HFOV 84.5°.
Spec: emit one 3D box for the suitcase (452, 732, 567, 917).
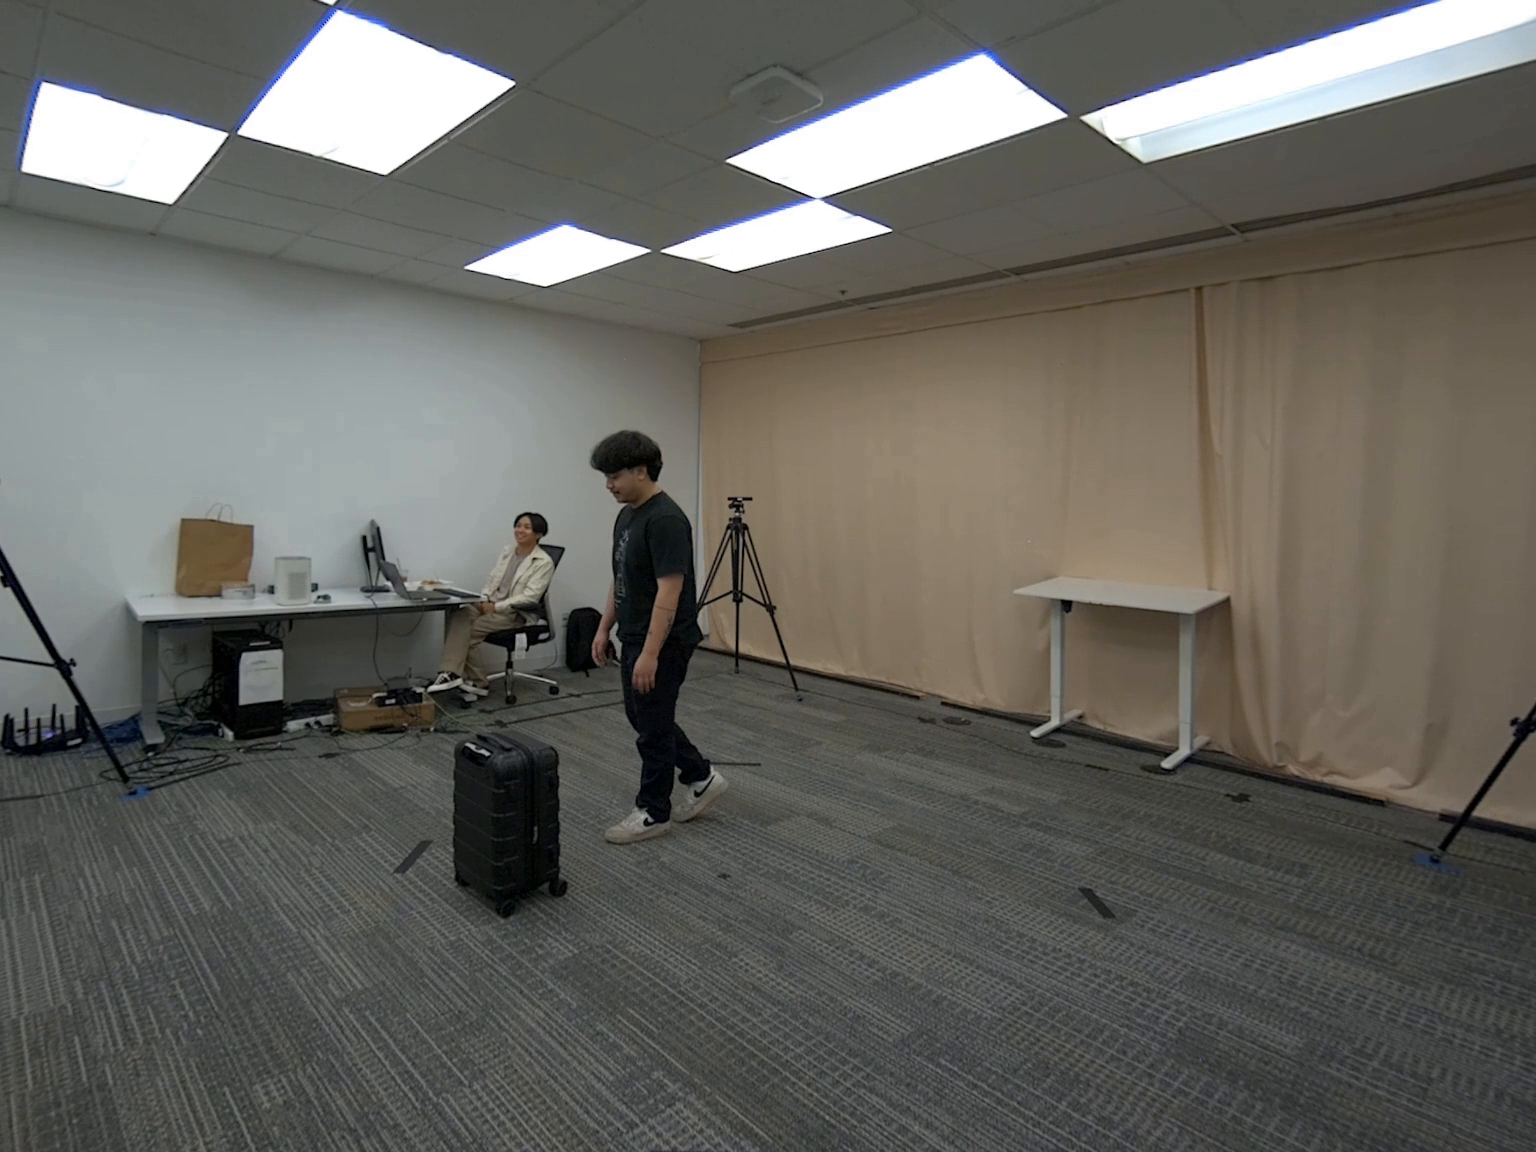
[{"bbox_3d":[-0.922,0.832,2.932,0.243,0.547,0.385,-4,7,-44],"label":"suitcase"}]
